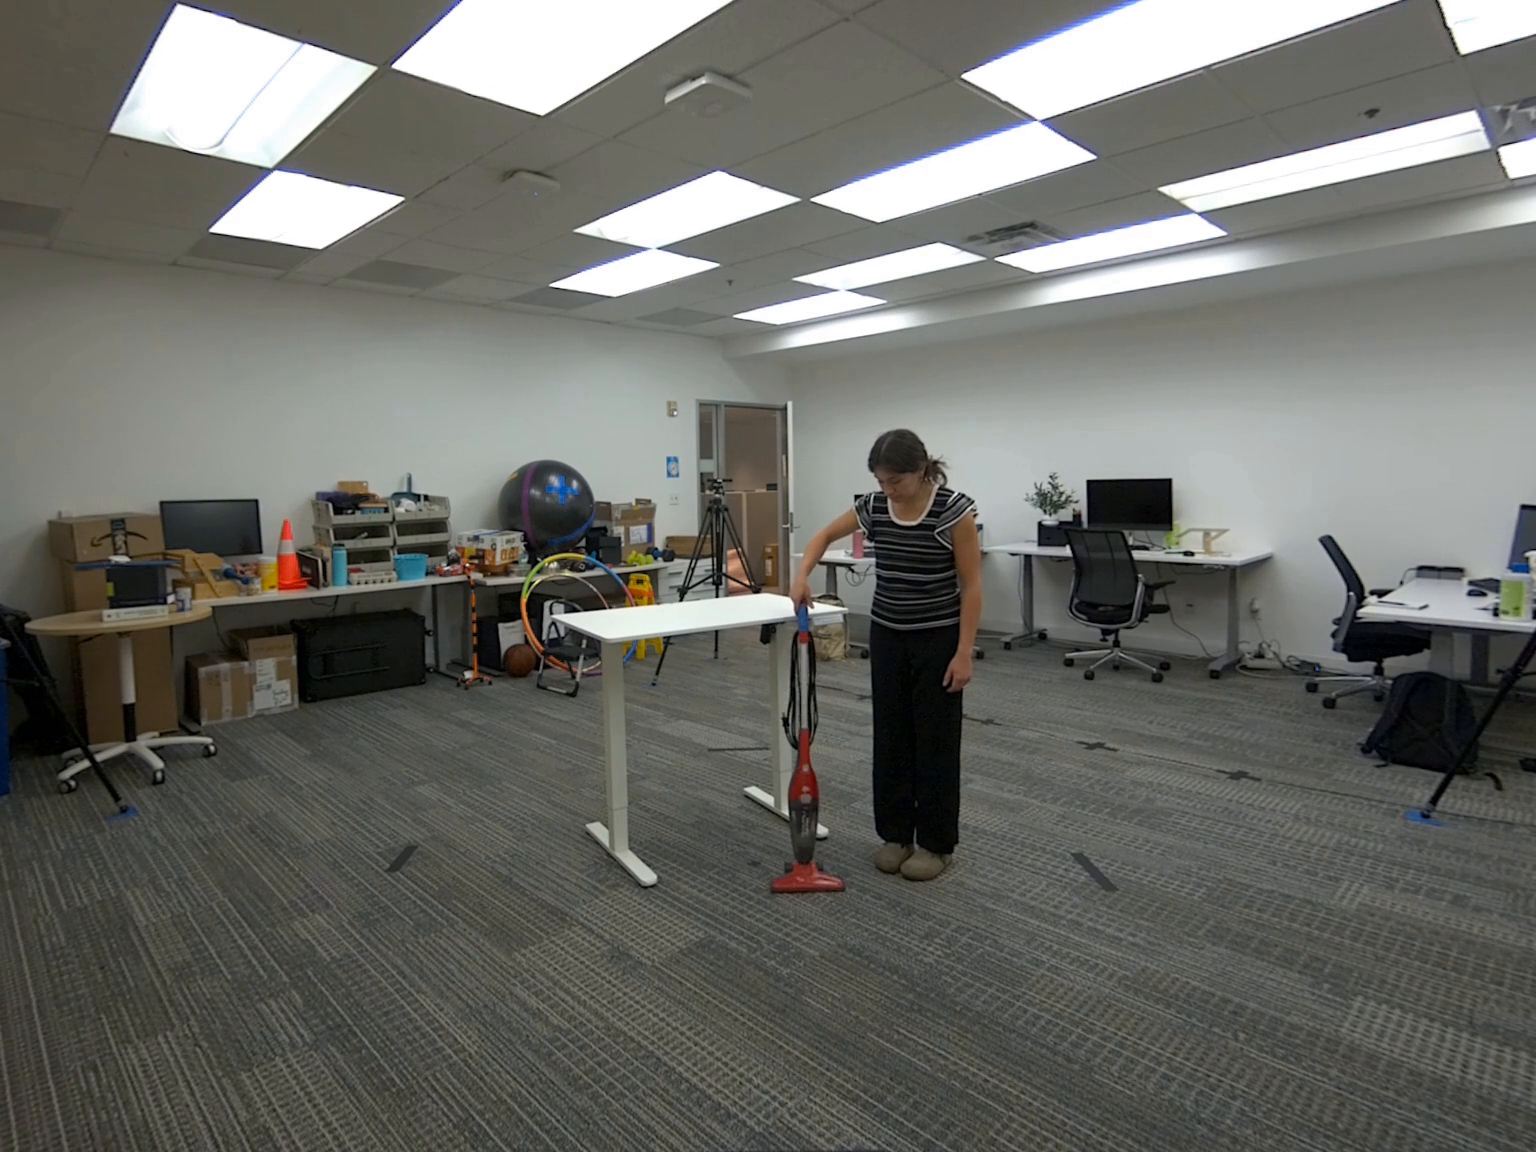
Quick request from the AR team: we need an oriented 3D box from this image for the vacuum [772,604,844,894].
[{"bbox_3d":[0.142,0.557,3.040,0.252,1.060,0.143,2,-11,-4],"label":"vacuum"}]
